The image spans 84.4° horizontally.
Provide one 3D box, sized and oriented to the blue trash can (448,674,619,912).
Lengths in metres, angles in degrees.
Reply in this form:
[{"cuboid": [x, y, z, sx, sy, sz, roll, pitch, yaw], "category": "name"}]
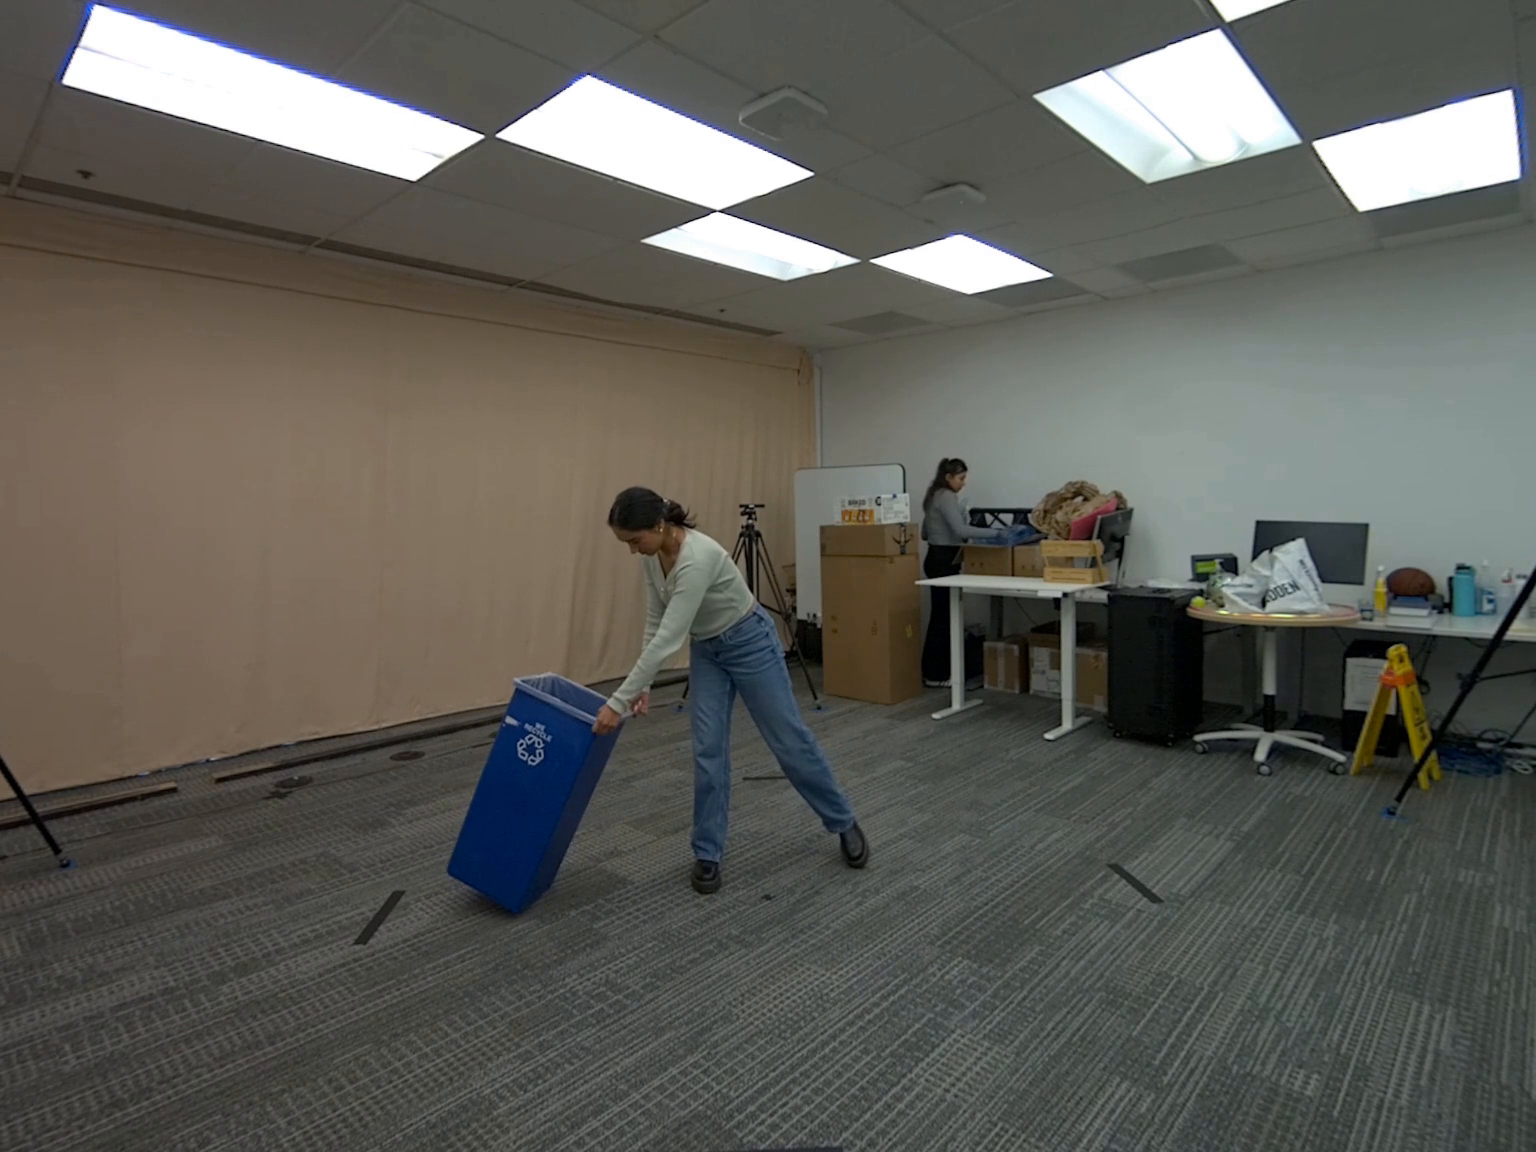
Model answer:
[{"cuboid": [-0.815, 0.762, 3.011, 0.380, 0.713, 0.373, 21, 1, 11], "category": "blue trash can"}]
